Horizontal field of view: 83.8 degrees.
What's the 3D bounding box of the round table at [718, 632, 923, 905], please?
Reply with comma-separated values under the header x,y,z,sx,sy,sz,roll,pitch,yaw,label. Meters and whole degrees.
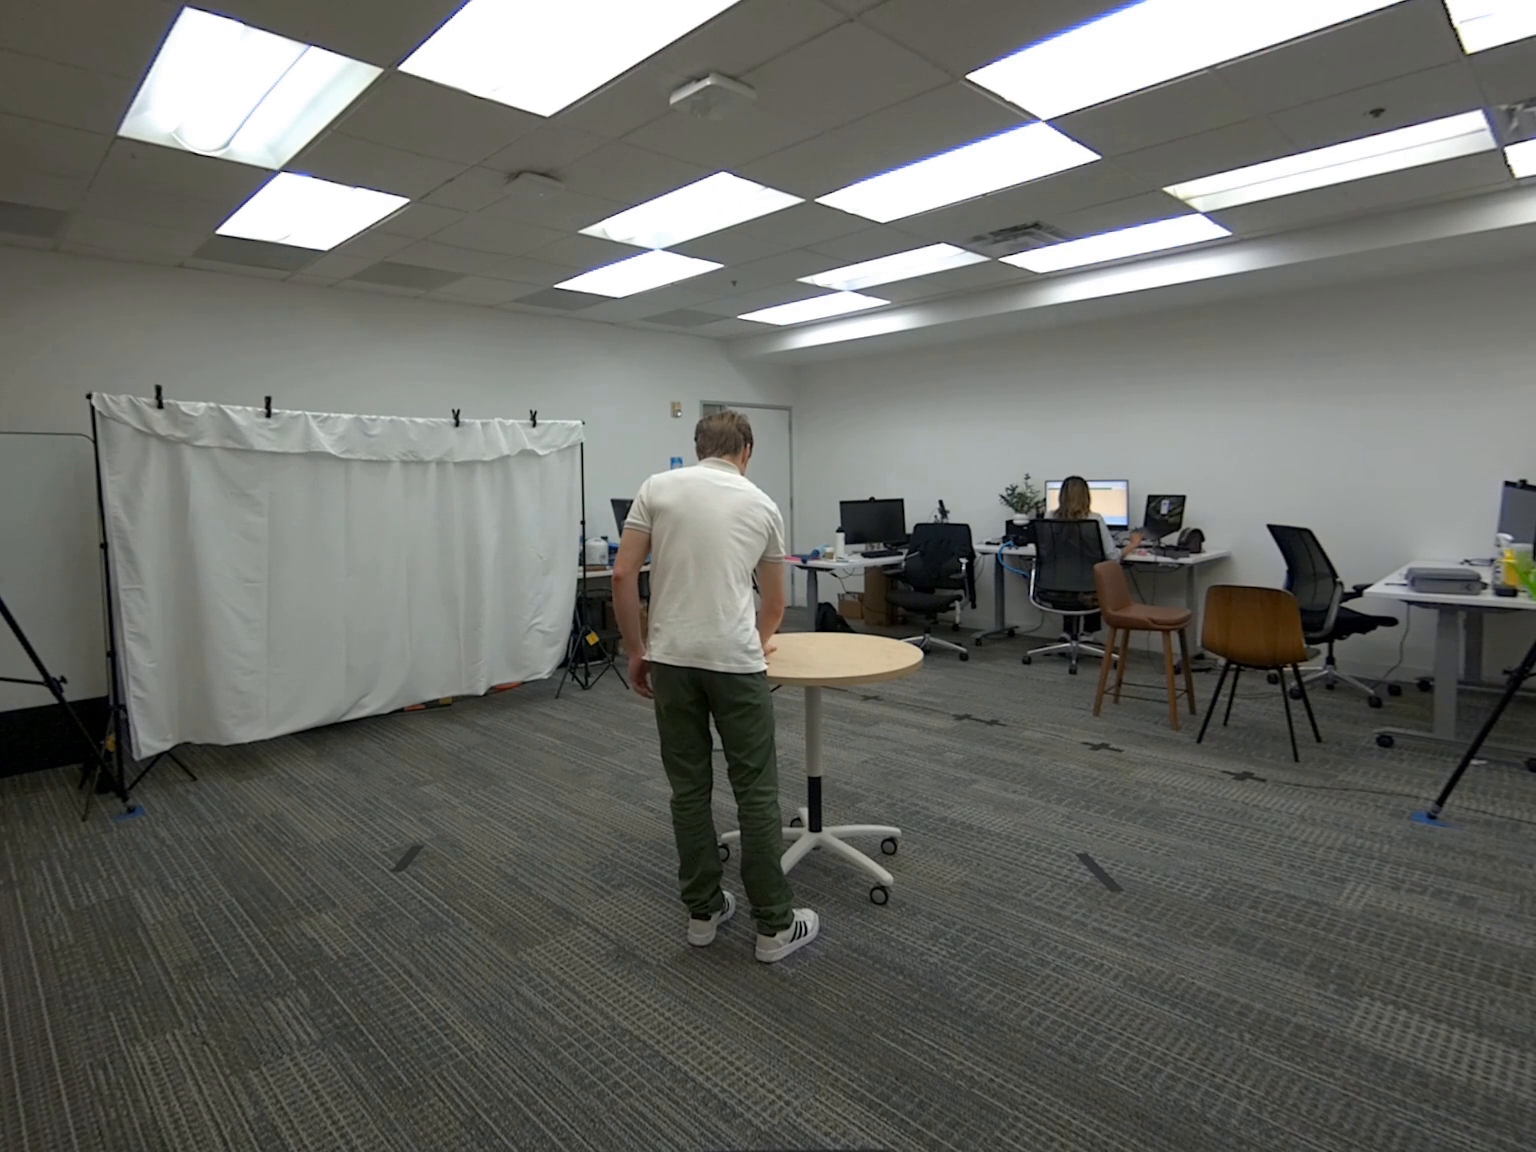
x,y,z,sx,sy,sz,roll,pitch,yaw,label
0.182,0.657,3.045,0.784,0.783,0.789,-2,5,-2,round table
